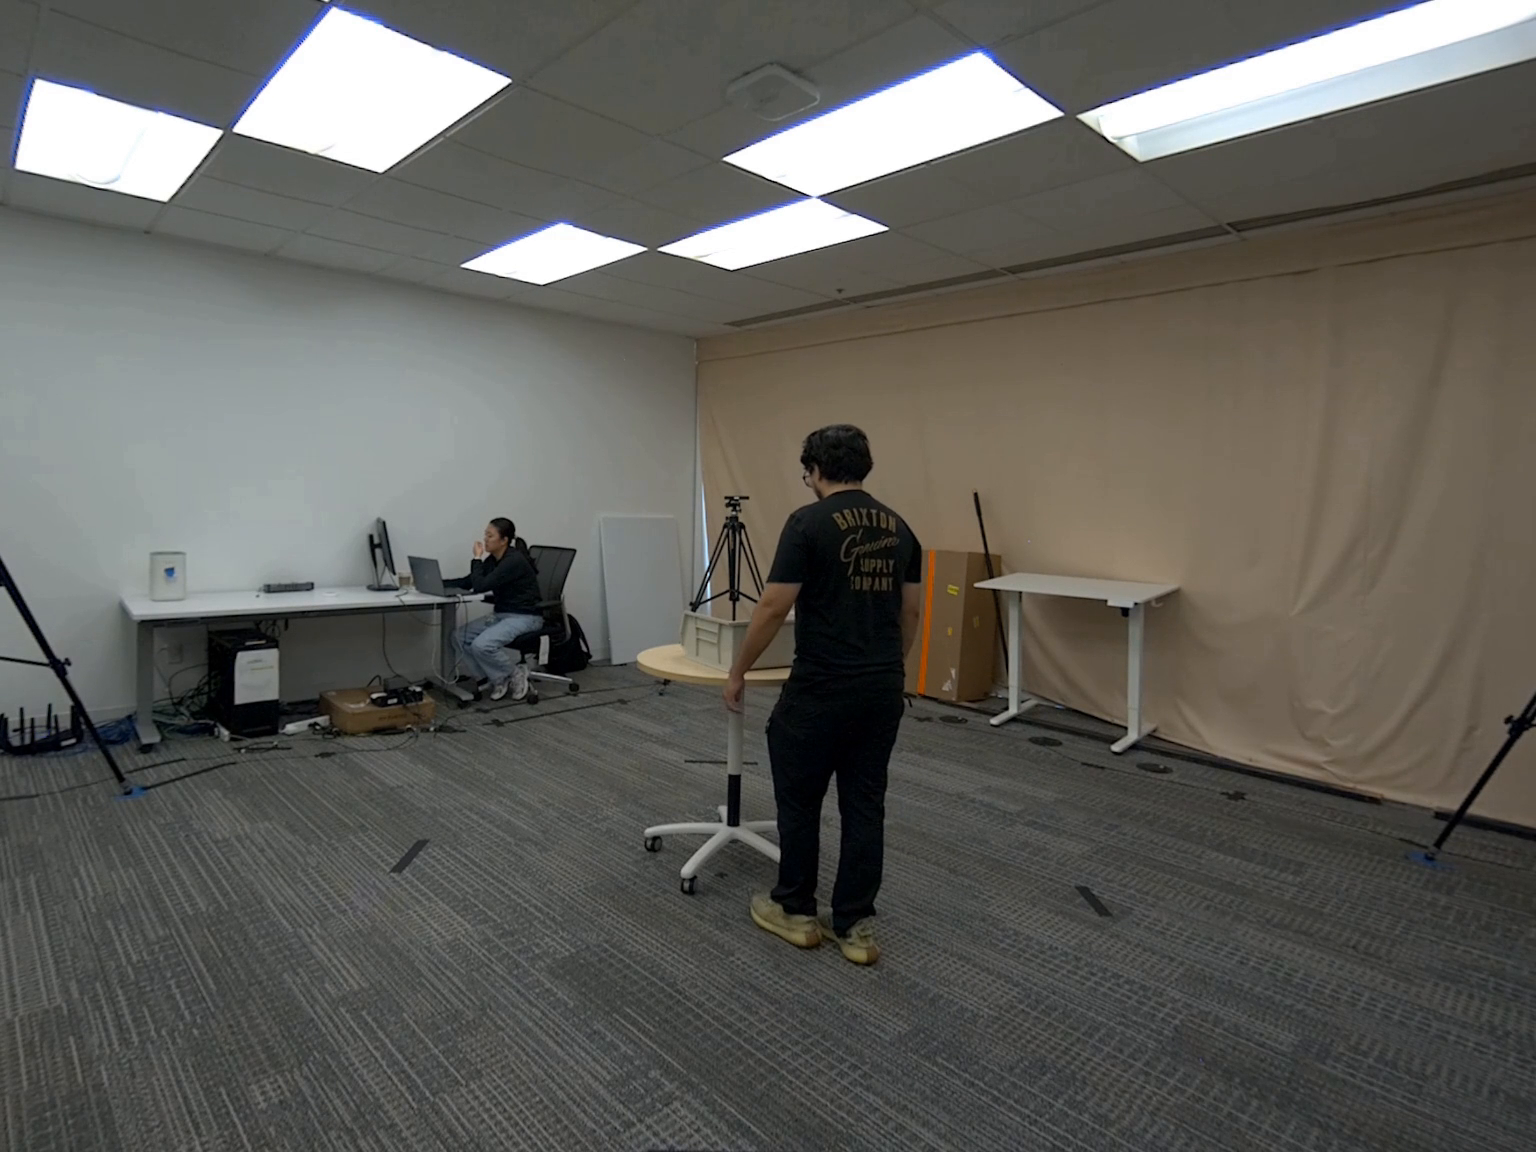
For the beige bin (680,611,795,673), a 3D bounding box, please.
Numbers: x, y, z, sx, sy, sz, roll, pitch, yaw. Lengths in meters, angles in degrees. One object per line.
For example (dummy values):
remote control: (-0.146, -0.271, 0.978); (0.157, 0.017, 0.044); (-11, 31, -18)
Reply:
beige bin: (-0.069, 0.229, 3.155); (0.413, 0.188, 0.386); (-1, 6, -32)
